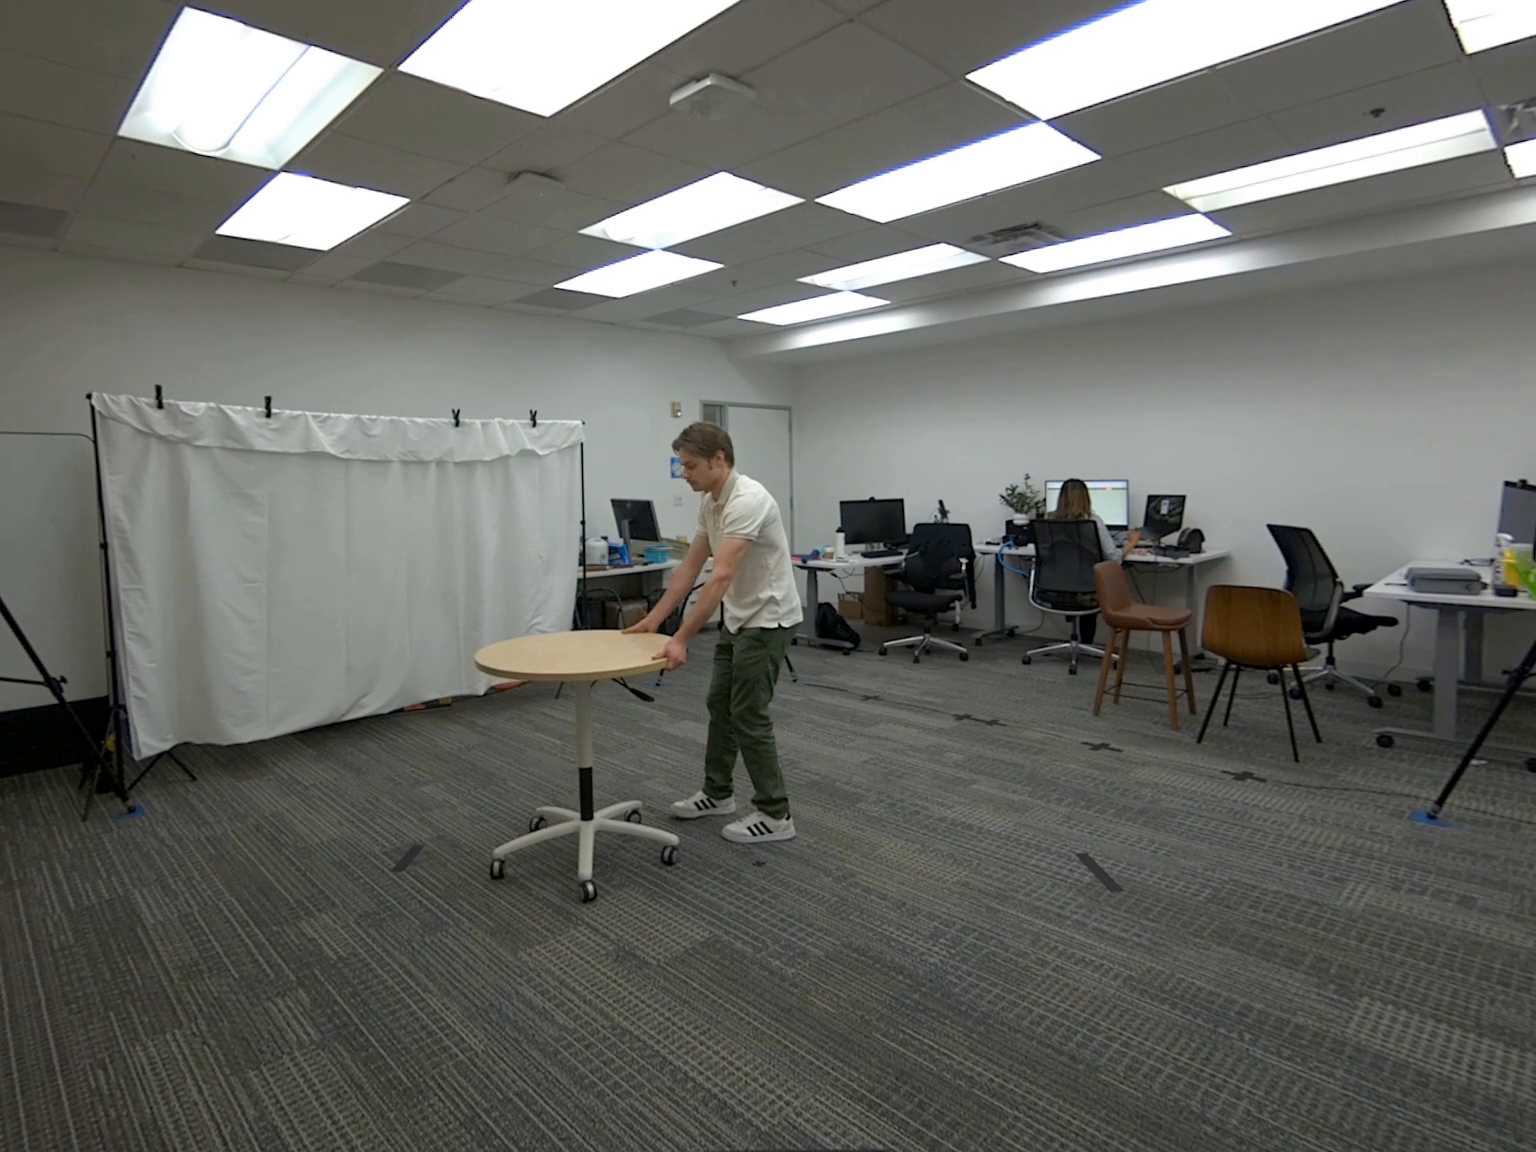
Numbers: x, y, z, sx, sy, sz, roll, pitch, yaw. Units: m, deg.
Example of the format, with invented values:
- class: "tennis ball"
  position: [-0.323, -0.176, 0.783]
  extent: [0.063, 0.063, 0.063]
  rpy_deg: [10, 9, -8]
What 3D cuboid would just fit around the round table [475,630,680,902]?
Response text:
- class: "round table"
  position: [-0.667, 0.657, 3.188]
  extent: [0.784, 0.783, 0.789]
  rpy_deg: [-1, 5, -2]
